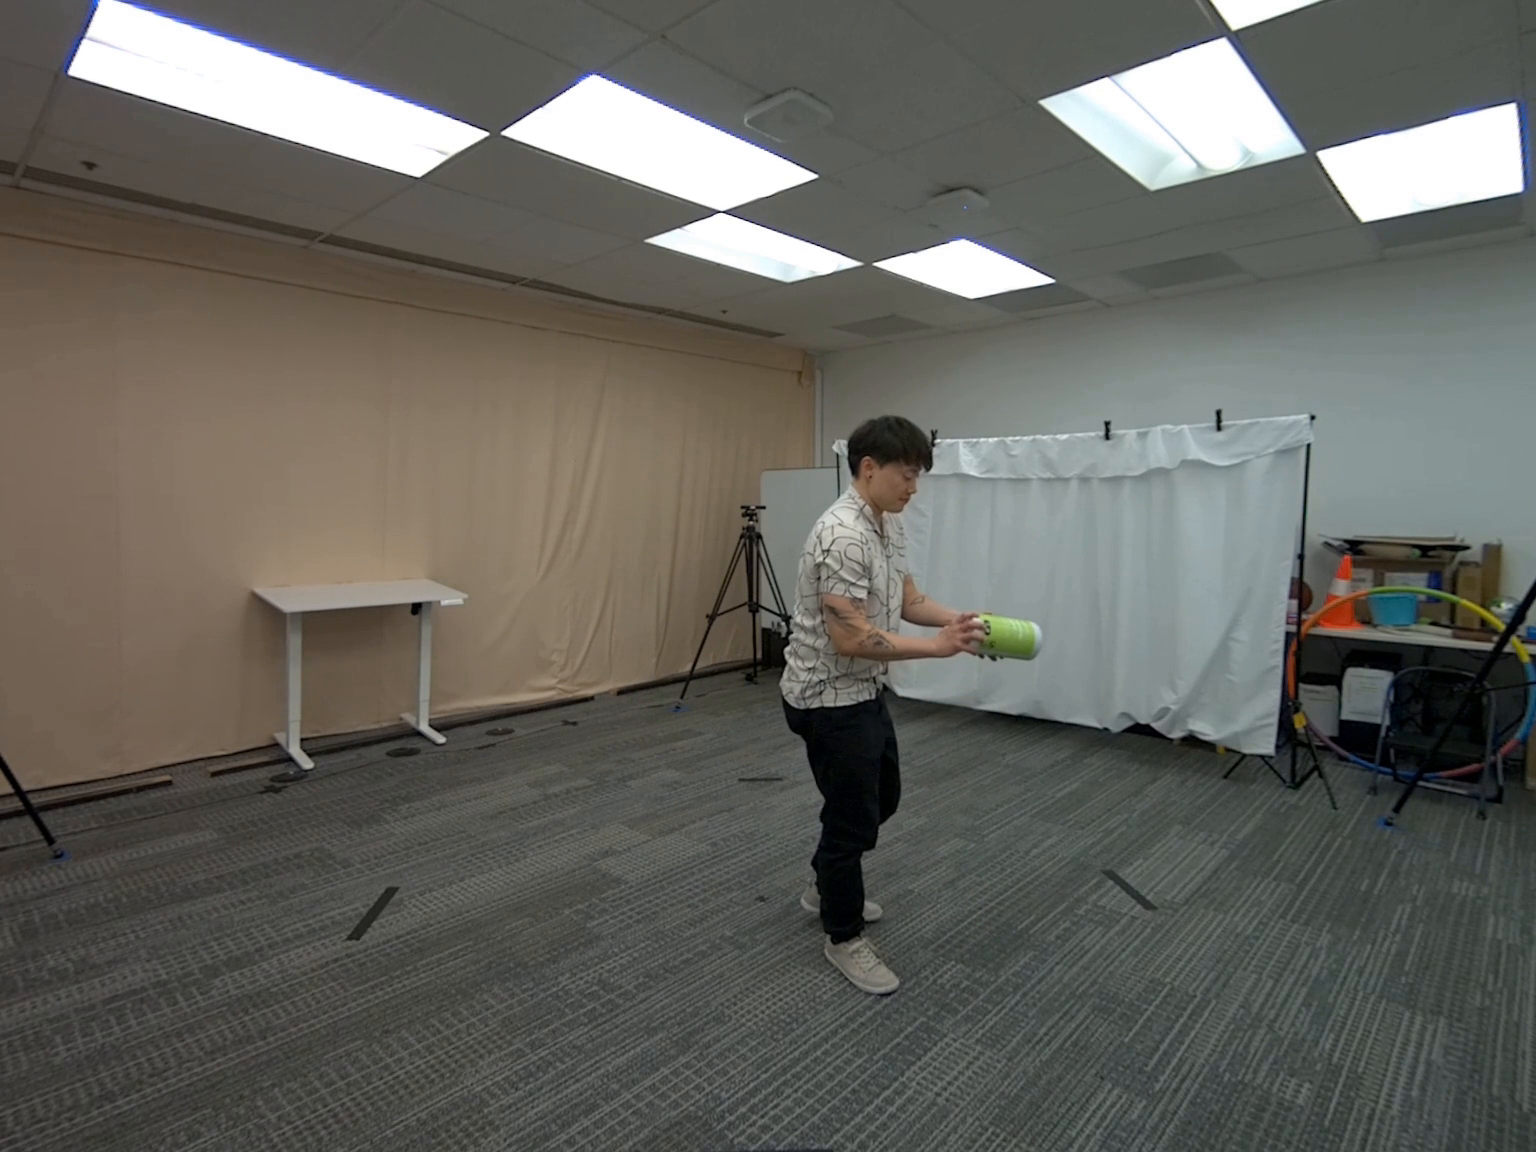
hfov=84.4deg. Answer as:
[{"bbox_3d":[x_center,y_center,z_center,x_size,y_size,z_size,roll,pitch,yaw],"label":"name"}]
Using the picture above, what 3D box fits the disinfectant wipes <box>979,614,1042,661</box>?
[{"bbox_3d":[0.627,0.168,2.277,0.215,0.117,0.119,8,2,-12],"label":"disinfectant wipes"}]
